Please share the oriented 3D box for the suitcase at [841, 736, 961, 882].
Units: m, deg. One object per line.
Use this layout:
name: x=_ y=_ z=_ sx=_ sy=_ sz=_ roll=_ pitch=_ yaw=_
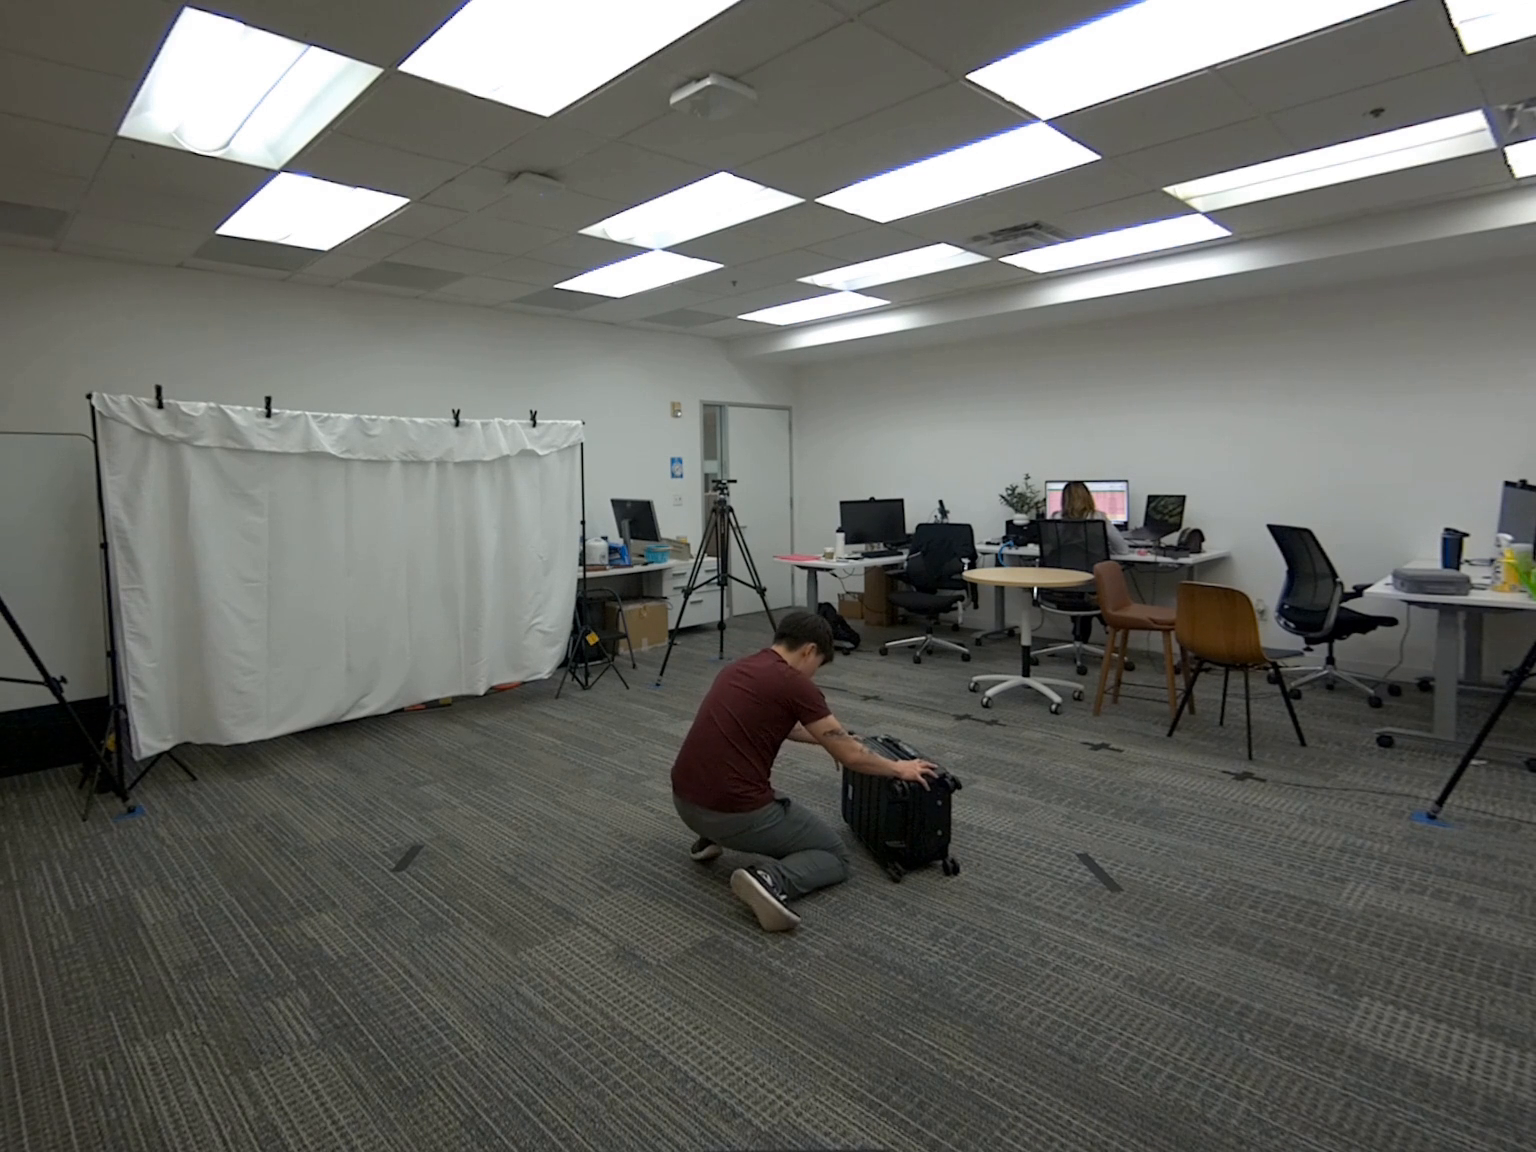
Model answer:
suitcase: x=0.408 y=0.817 z=3.421 sx=0.253 sy=0.383 sz=0.996 roll=0 pitch=5 yaw=-17
